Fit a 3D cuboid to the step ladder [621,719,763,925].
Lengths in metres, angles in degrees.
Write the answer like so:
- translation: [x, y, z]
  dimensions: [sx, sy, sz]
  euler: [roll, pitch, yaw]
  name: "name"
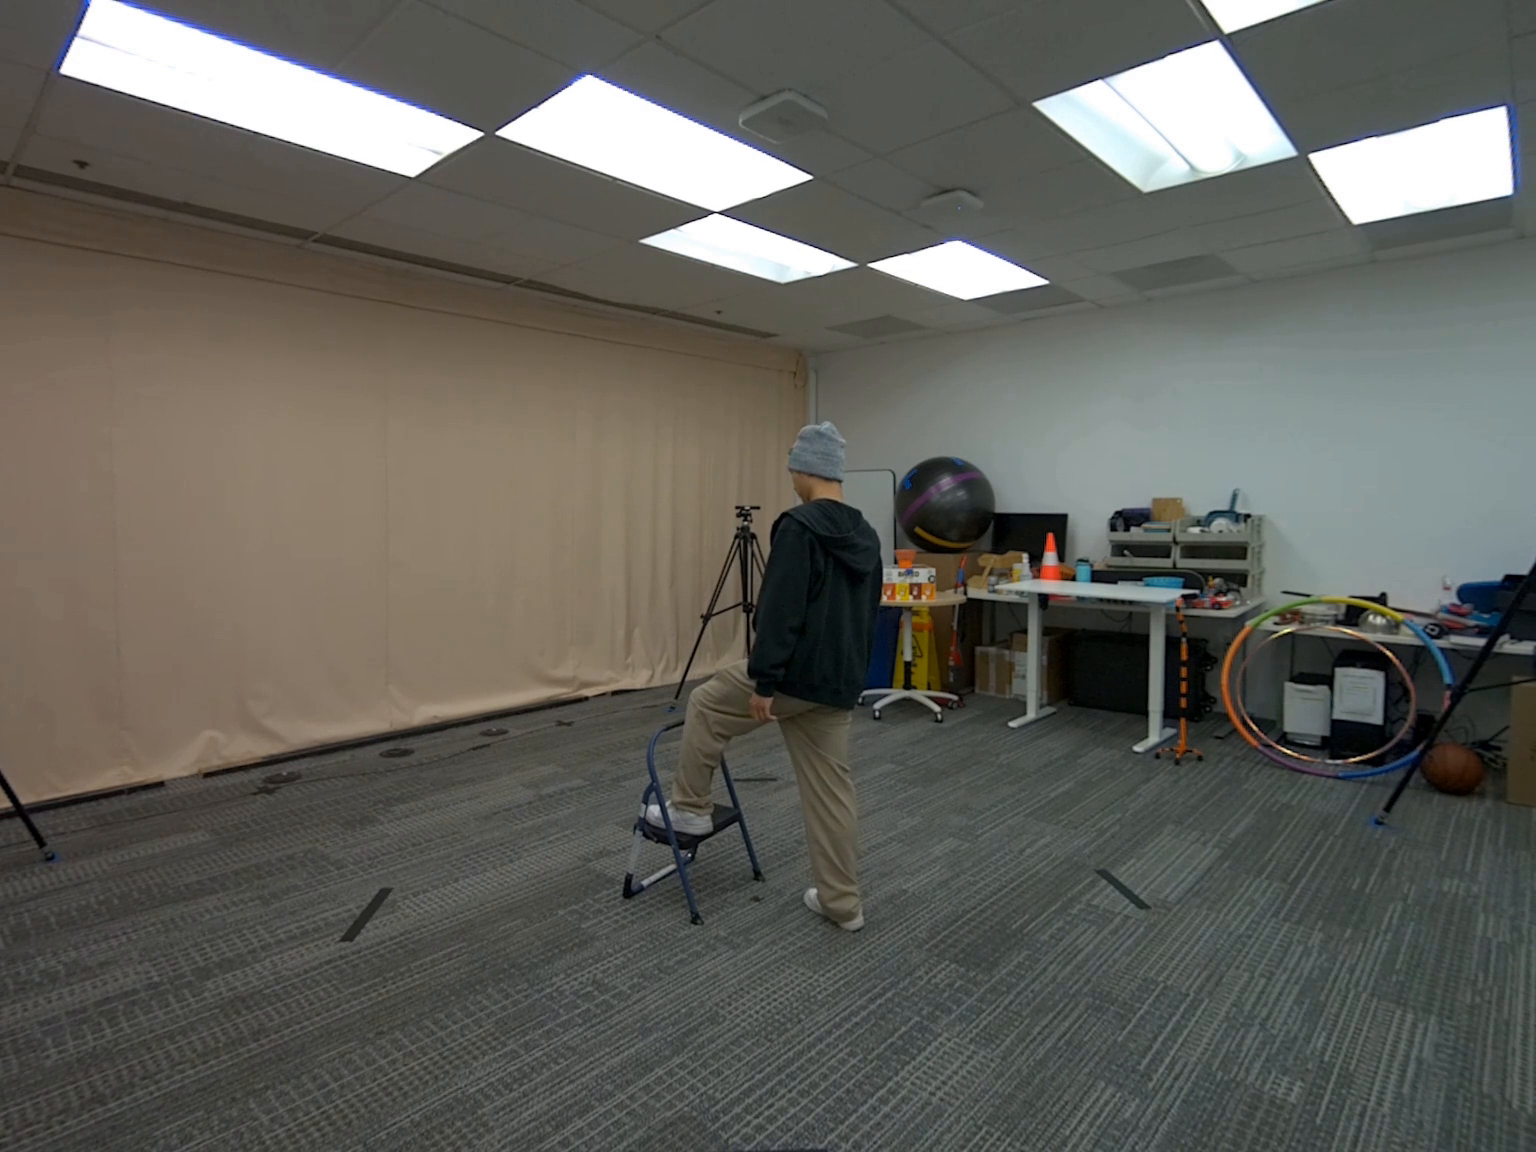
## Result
- translation: [-0.268, 0.838, 3.055]
  dimensions: [0.360, 0.605, 0.418]
  euler: [1, 4, 33]
  name: "step ladder"
